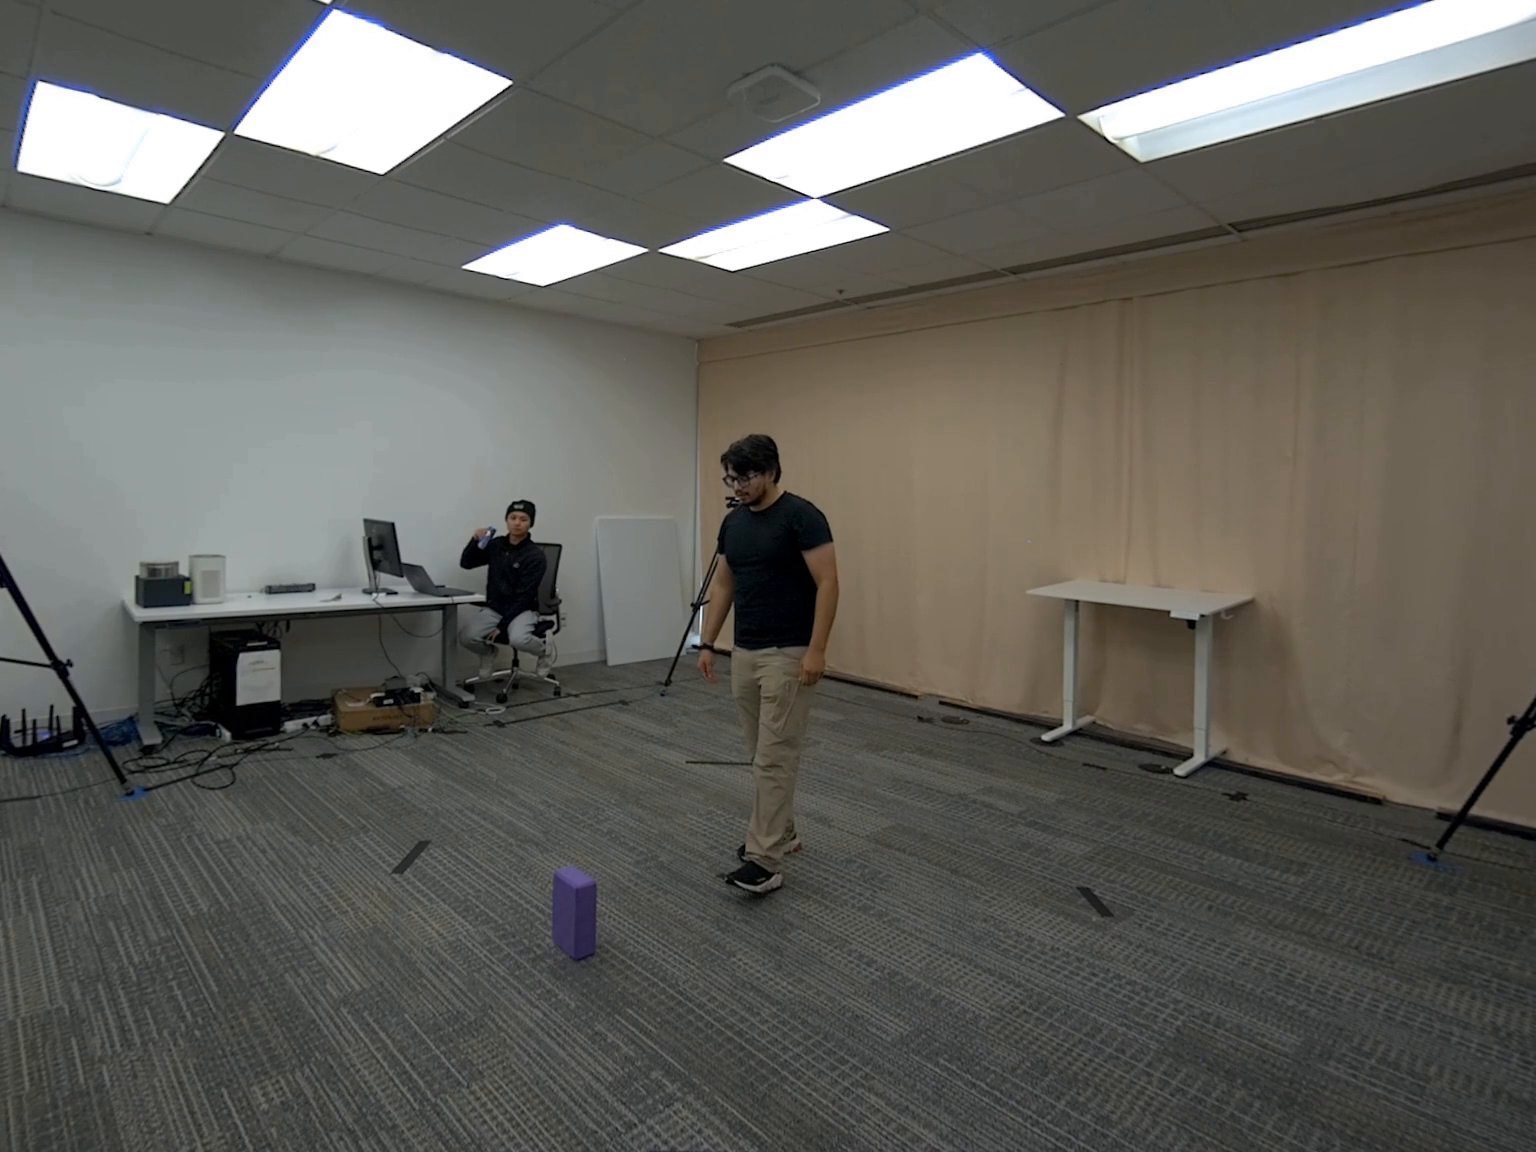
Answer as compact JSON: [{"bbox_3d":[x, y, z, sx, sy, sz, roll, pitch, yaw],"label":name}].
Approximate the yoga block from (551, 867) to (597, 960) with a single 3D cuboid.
[{"bbox_3d":[-0.600,1.031,2.574,0.074,0.229,0.153,-1,4,-43],"label":"yoga block"}]
